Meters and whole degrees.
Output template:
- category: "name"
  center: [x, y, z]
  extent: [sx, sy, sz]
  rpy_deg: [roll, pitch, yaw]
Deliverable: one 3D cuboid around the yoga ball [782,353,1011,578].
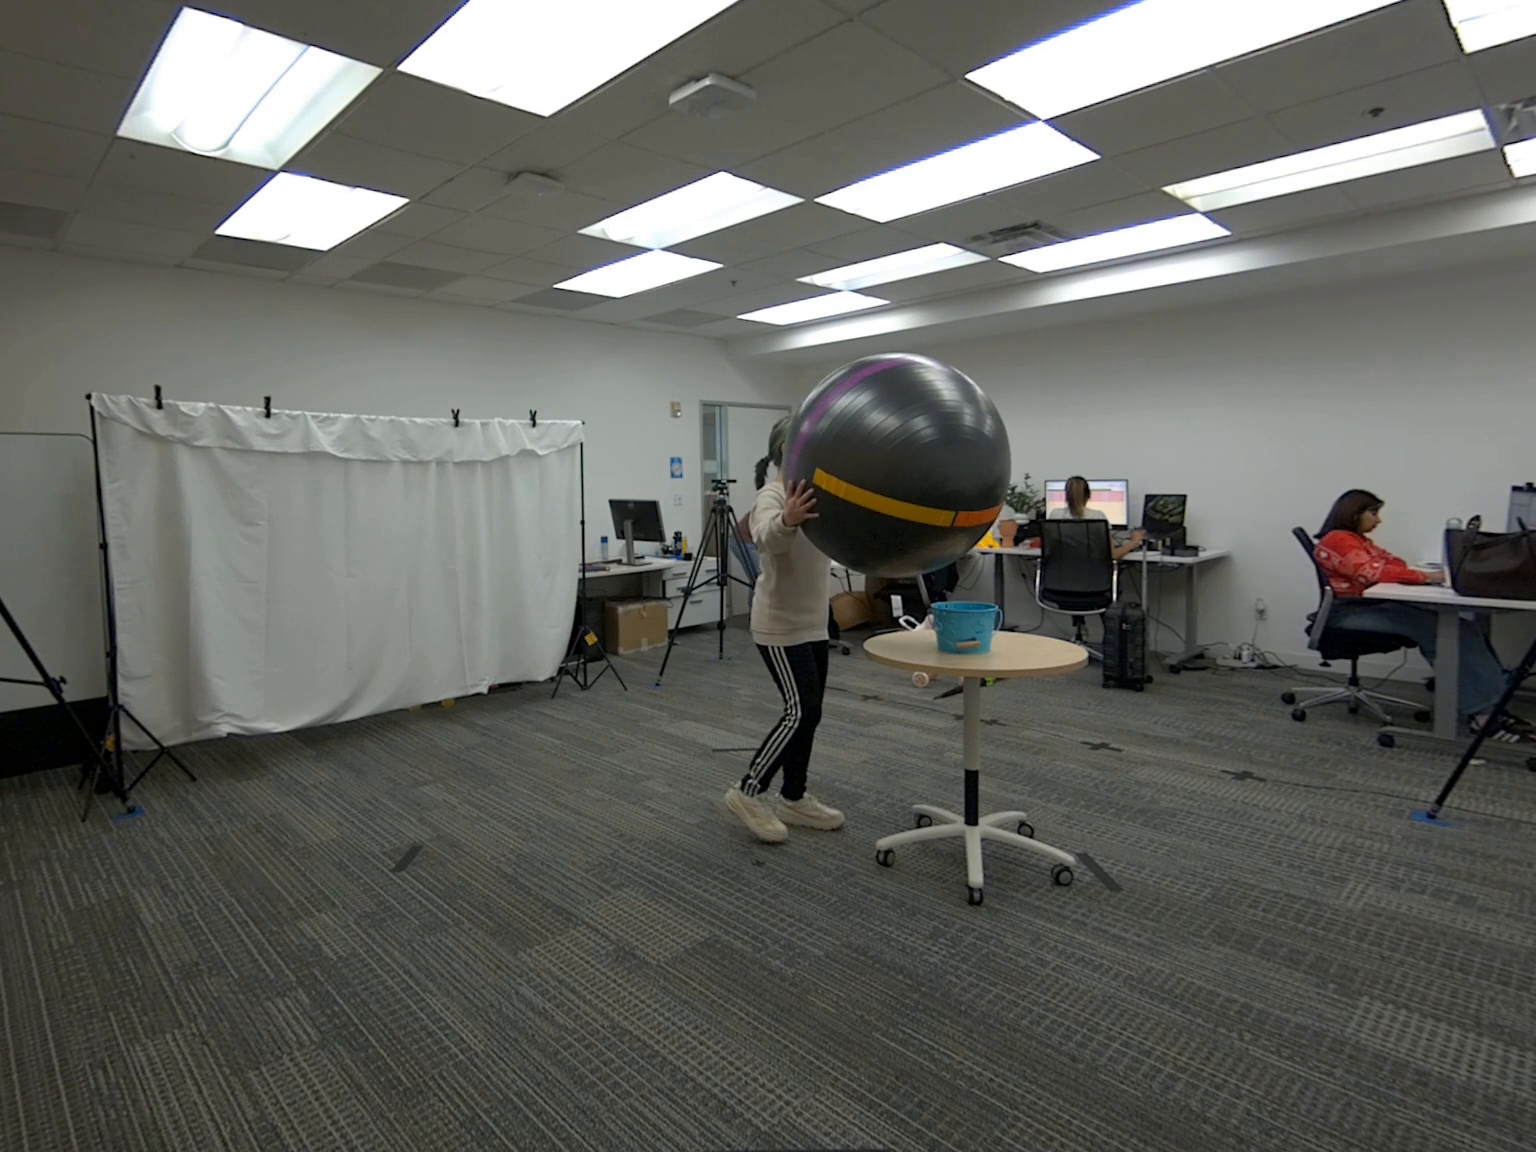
- category: "yoga ball"
  center: [0.430, -0.369, 2.895]
  extent: [0.757, 0.755, 0.762]
  rpy_deg: [-1, 5, -2]
